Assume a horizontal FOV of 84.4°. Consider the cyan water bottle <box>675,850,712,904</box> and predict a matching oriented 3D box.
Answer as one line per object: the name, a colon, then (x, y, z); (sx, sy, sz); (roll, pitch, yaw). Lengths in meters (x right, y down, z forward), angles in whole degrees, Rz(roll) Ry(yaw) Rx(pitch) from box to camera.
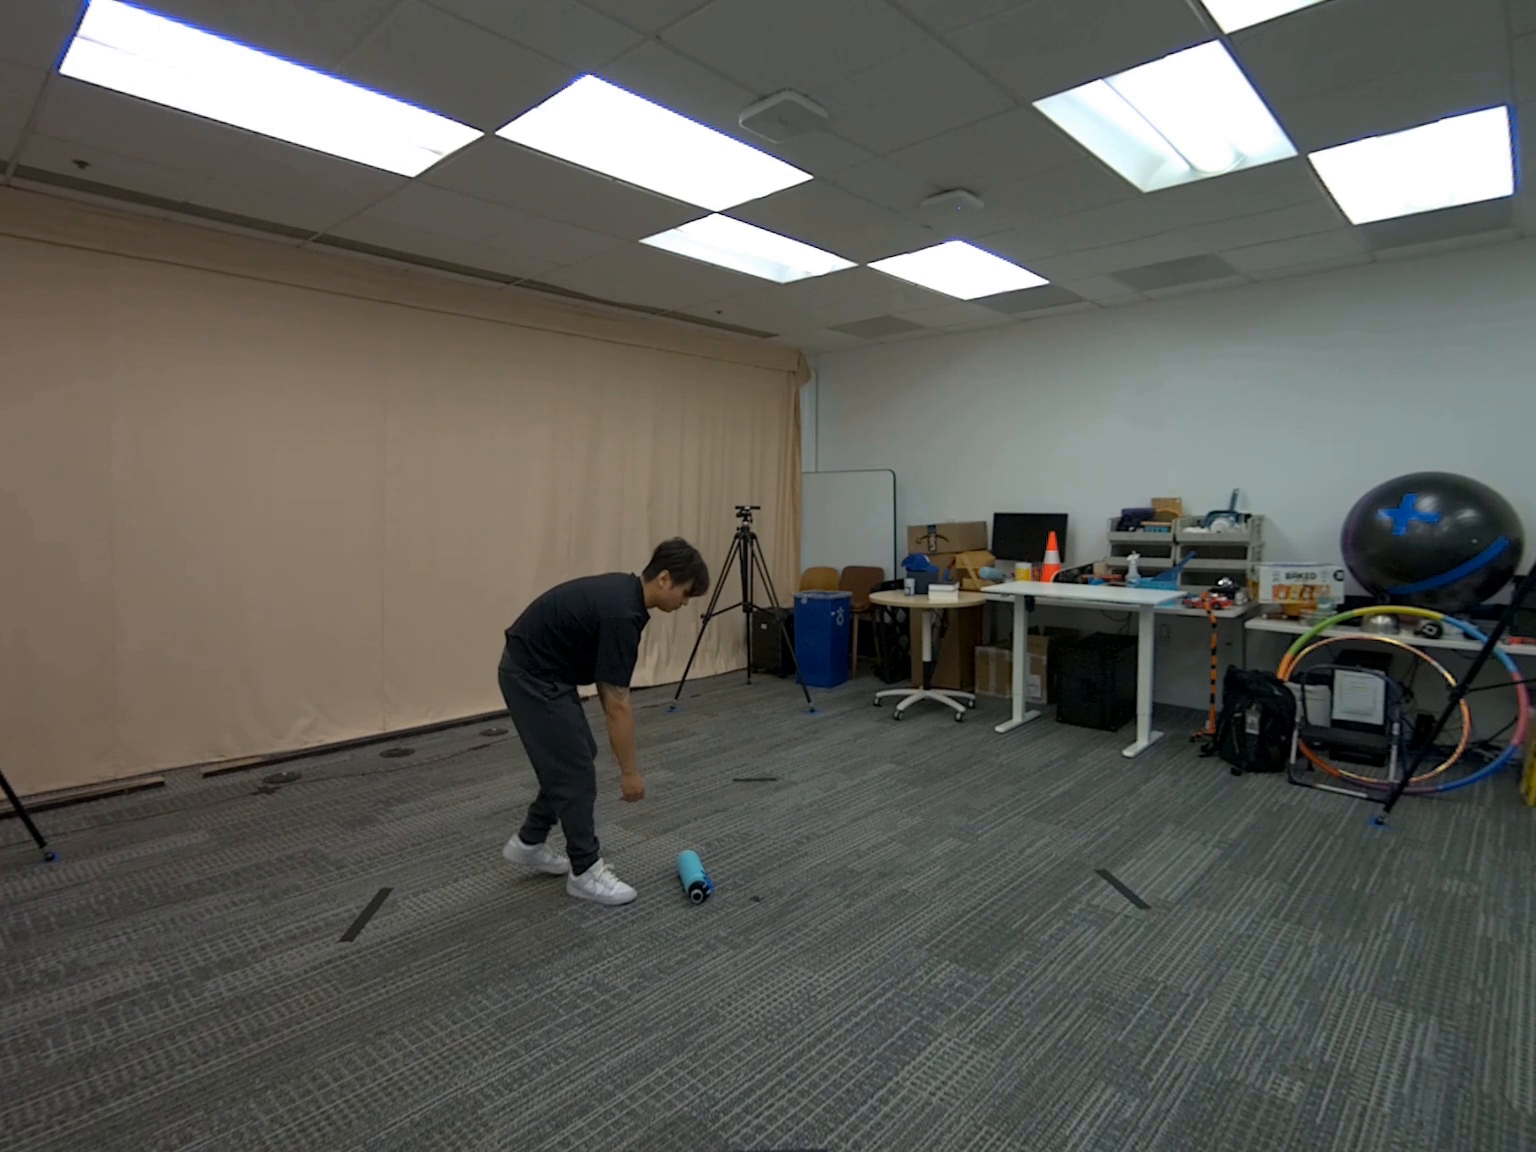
cyan water bottle: (-0.268, 1.091, 3.055); (0.091, 0.092, 0.288); (-1, 5, -15)
